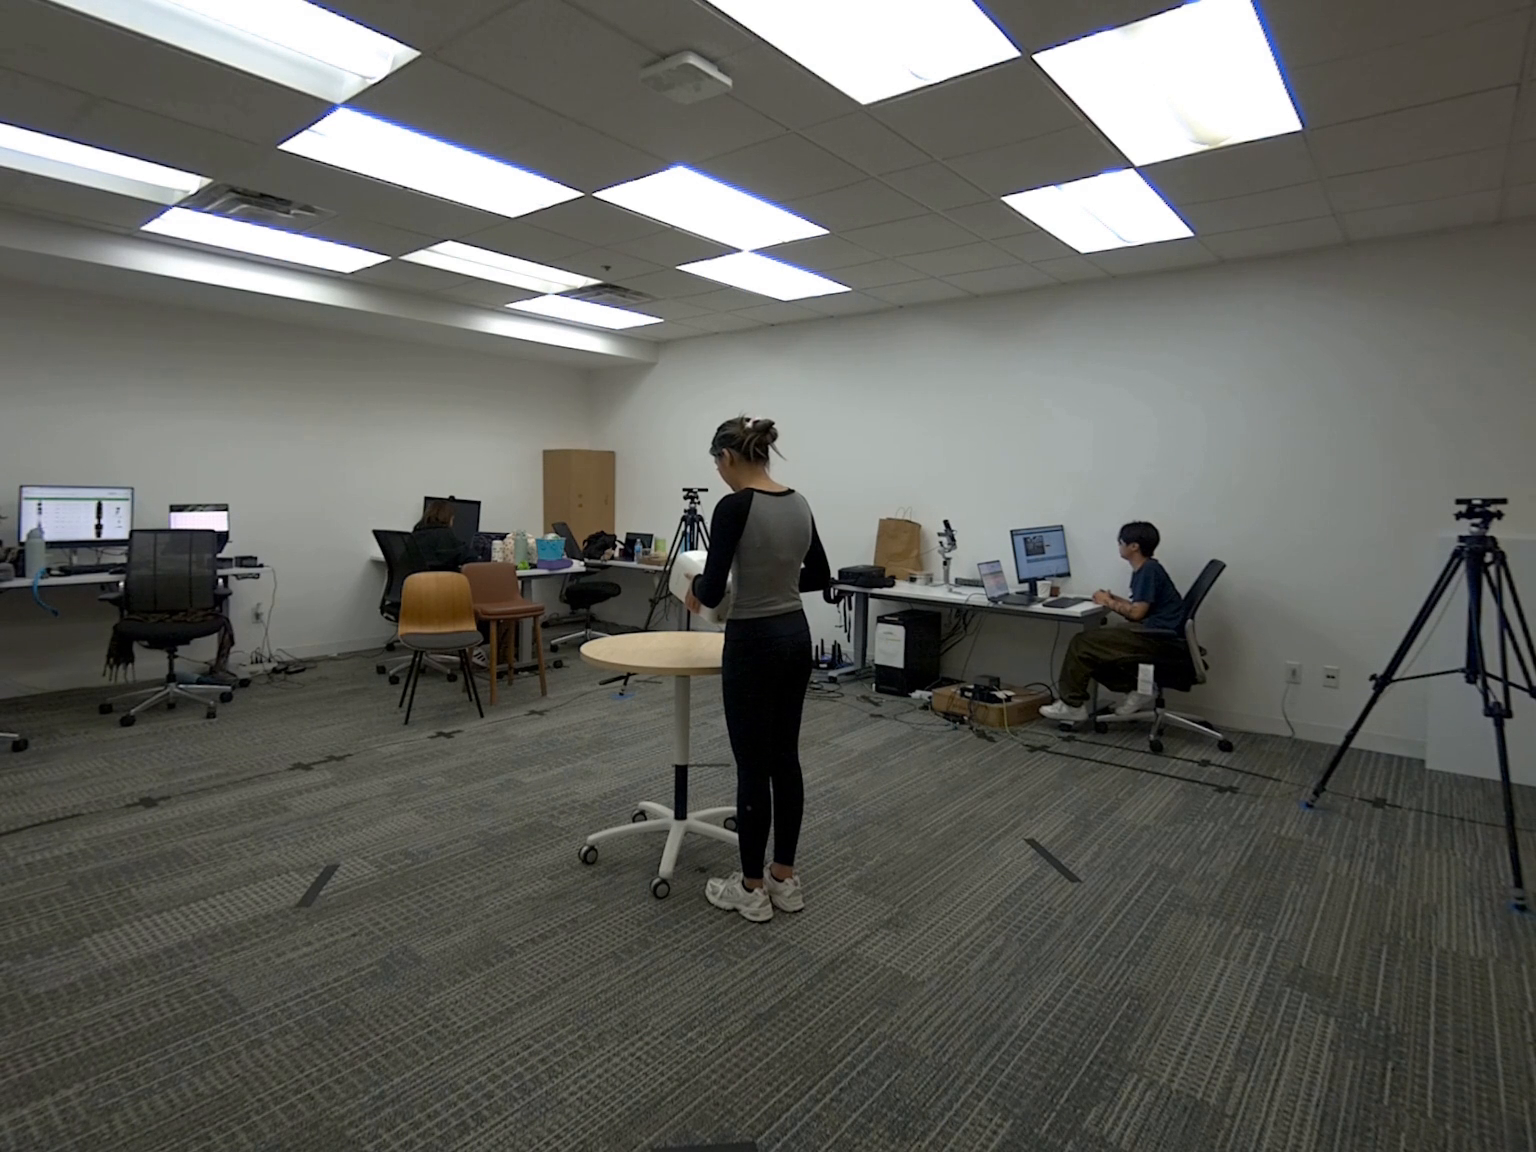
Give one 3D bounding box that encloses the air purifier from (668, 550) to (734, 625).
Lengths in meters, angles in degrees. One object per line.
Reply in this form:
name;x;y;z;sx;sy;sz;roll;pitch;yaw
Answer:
air purifier;-0.211;0.038;2.999;0.166;0.169;0.277;-2;25;-41
